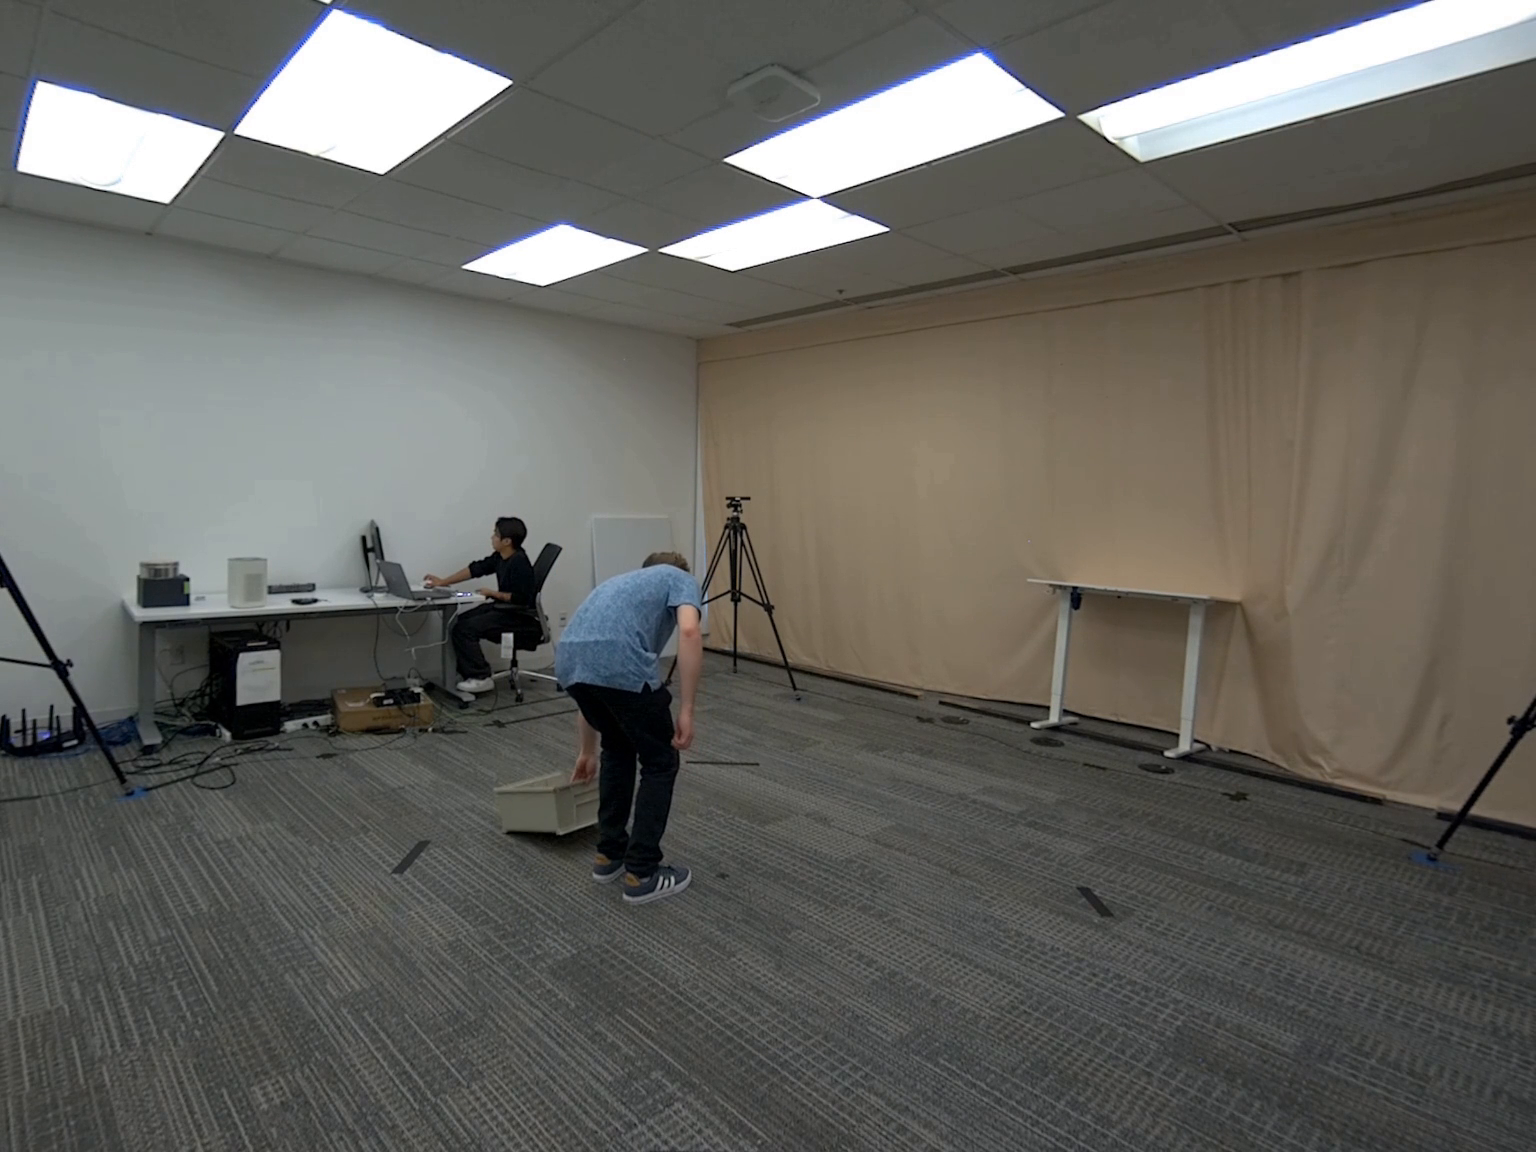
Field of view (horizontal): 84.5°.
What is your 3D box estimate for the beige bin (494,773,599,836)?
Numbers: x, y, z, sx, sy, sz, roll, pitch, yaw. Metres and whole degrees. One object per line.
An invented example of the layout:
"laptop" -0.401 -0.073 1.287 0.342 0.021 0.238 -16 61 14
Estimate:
"beige bin" -0.845 0.921 3.457 0.430 0.190 0.369 -12 -4 40
